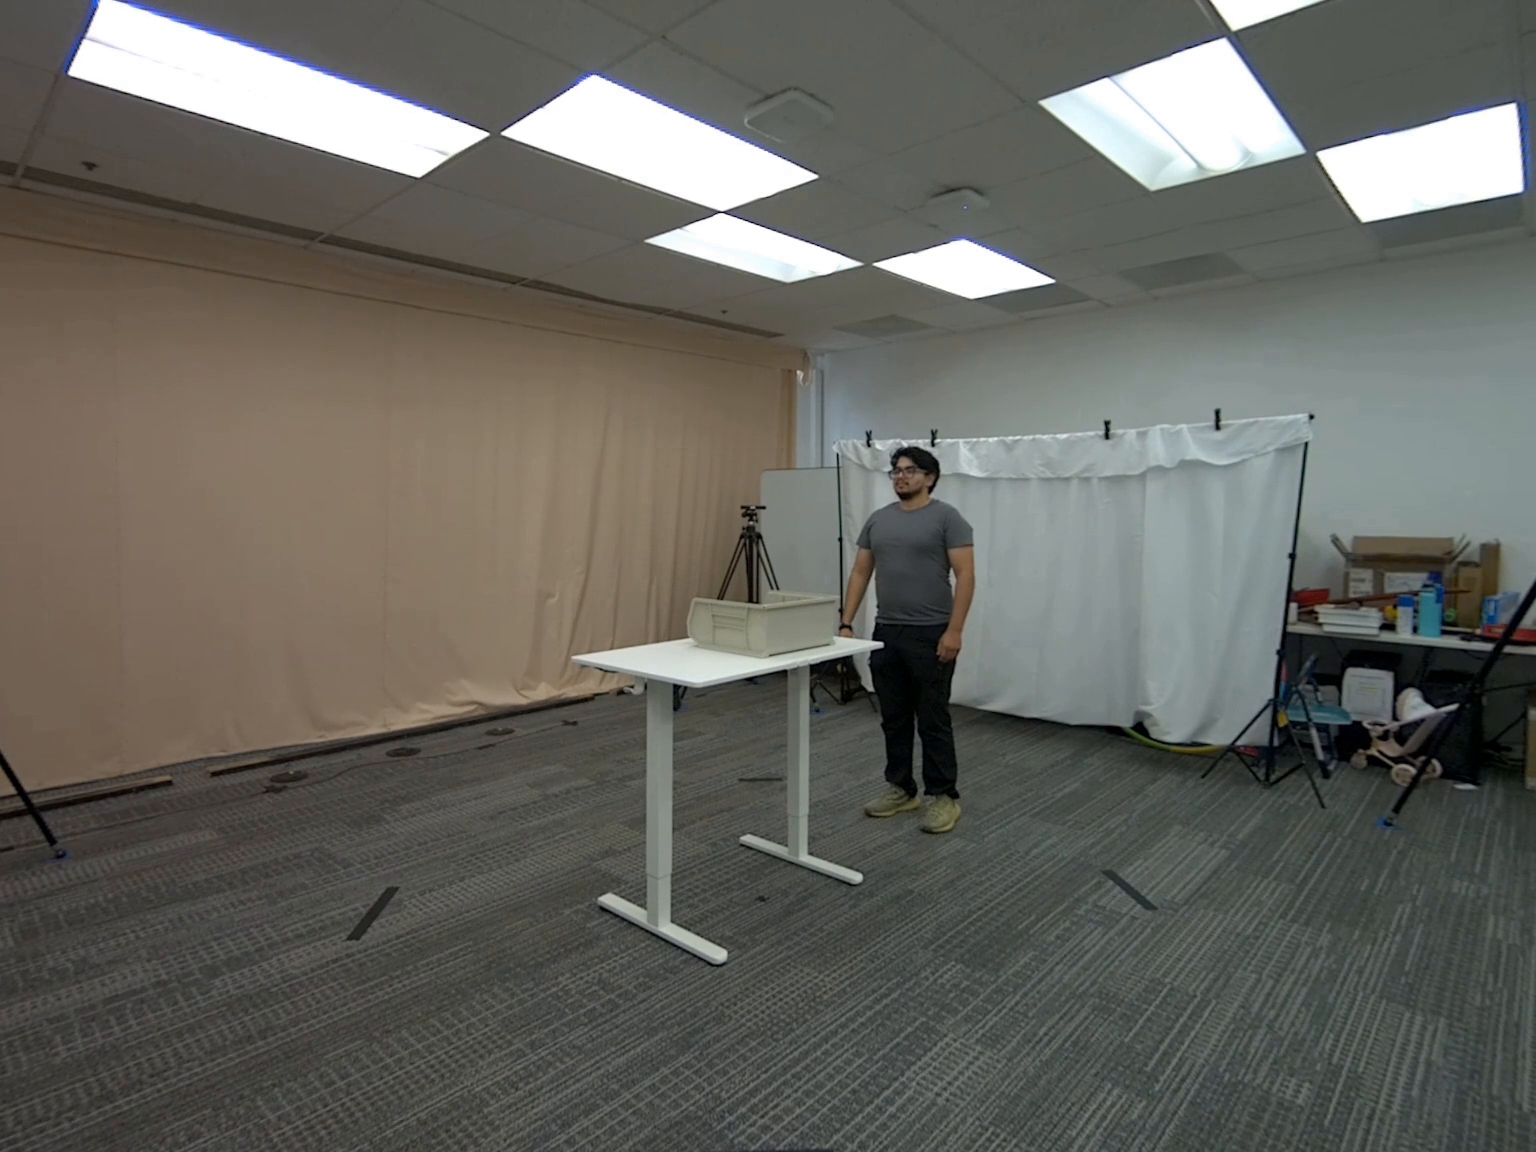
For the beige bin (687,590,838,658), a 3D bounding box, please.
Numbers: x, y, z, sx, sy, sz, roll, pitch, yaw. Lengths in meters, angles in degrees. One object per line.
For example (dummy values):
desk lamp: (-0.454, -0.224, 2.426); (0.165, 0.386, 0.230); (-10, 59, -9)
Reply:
beige bin: (-0.016, 0.167, 3.067); (0.390, 0.188, 0.409); (5, 6, 42)
